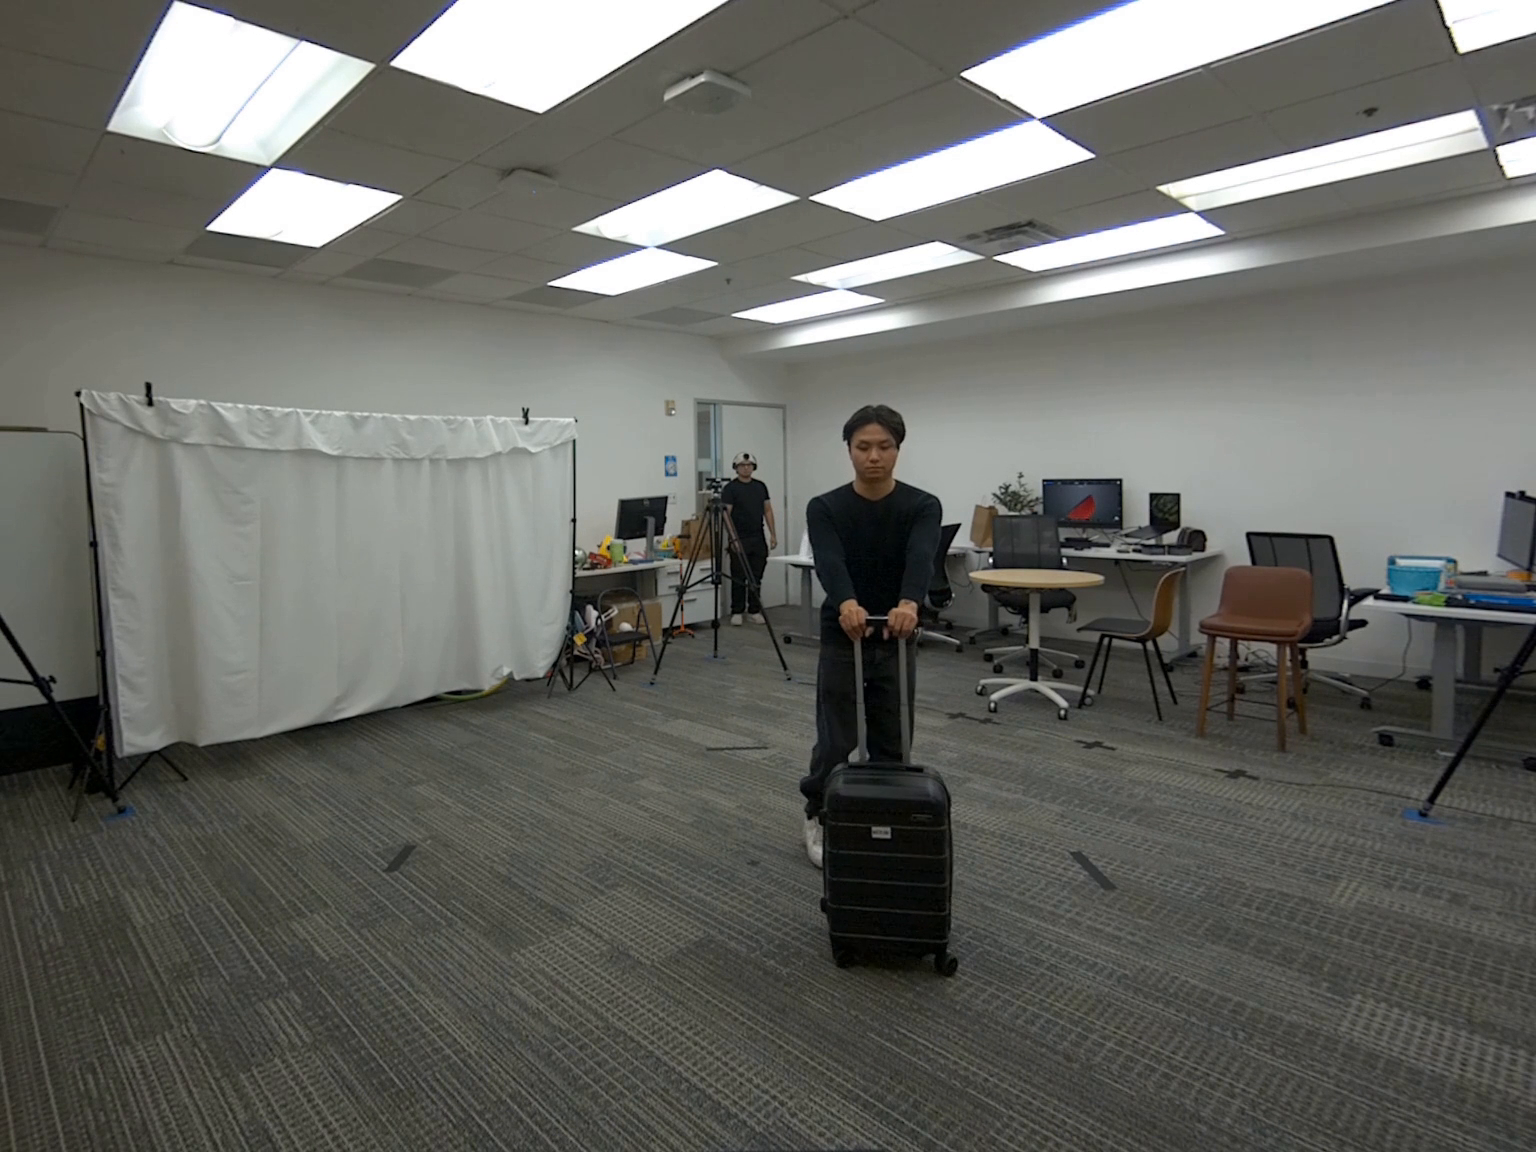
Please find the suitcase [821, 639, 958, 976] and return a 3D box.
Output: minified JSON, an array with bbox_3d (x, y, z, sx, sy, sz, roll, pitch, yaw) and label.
[{"bbox_3d":[0.343,0.635,2.475,0.388,0.972,0.256,-1,7,11],"label":"suitcase"}]
